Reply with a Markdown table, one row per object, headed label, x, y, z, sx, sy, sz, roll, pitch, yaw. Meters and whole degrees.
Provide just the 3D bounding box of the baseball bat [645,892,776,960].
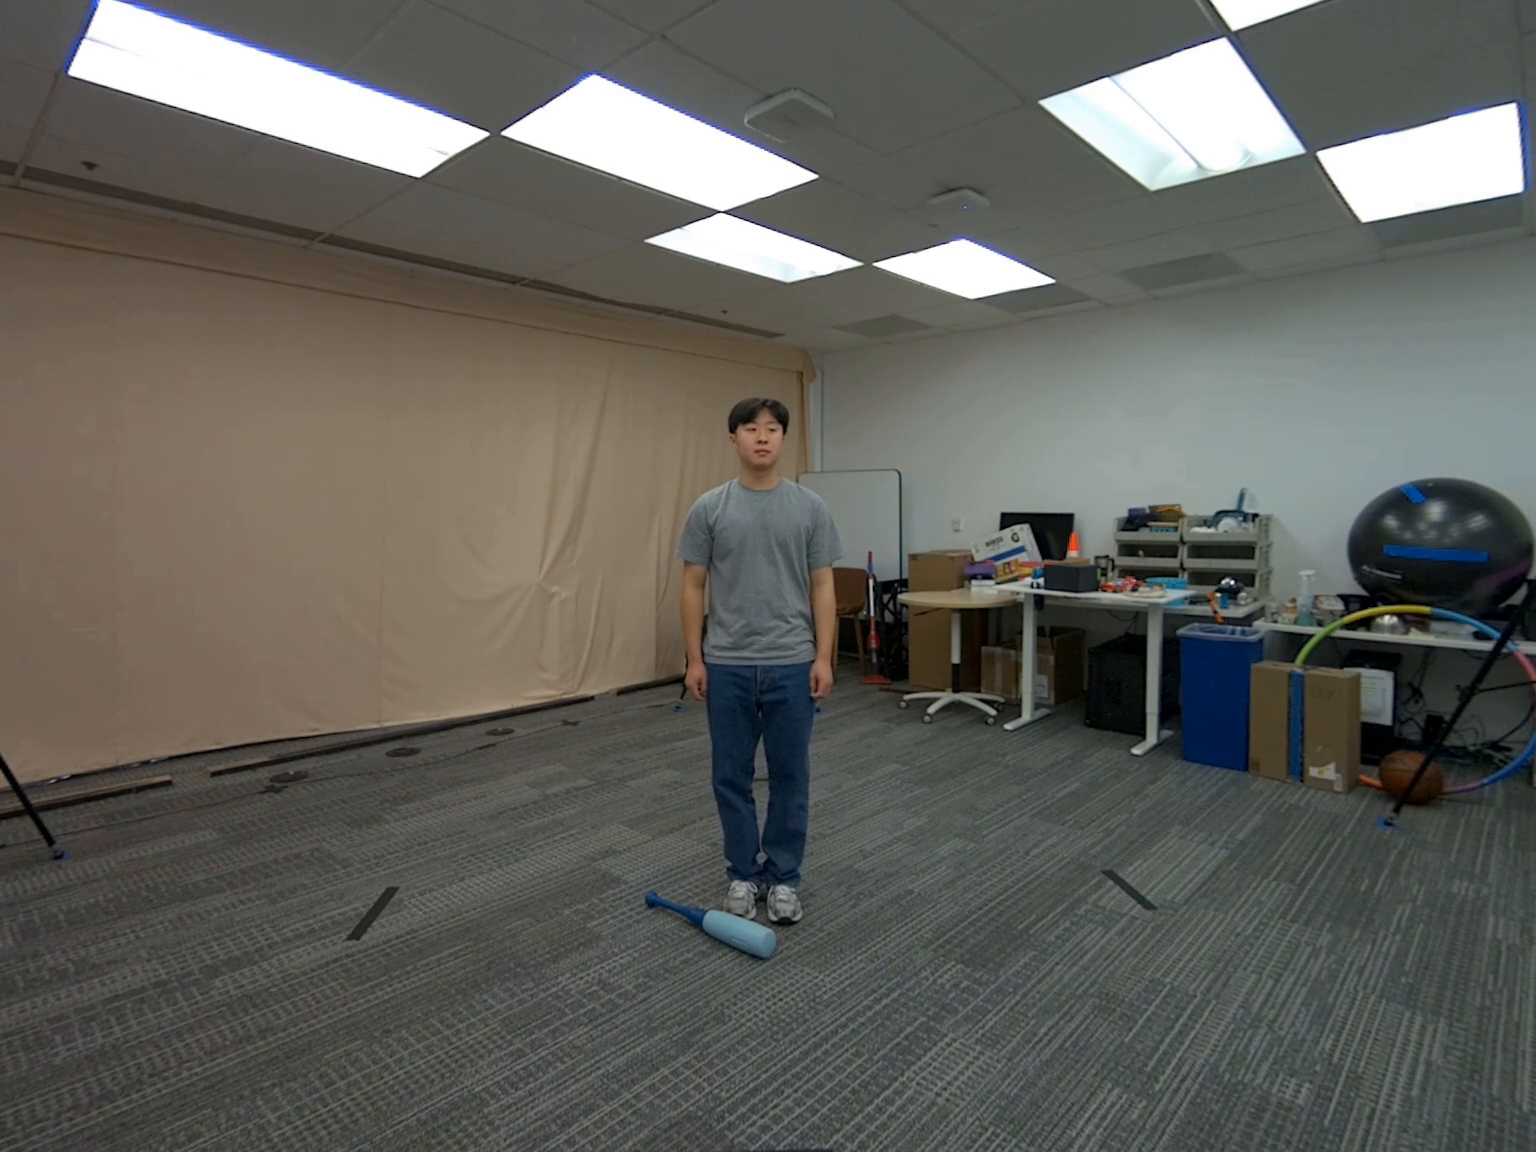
| label | x | y | z | sx | sy | sz | roll | pitch | yaw |
| --- | --- | --- | --- | --- | --- | --- | --- | --- | --- |
| baseball bat | -0.204 | 1.130 | 2.754 | 0.560 | 0.089 | 0.086 | -1 | 2 | 41 |
